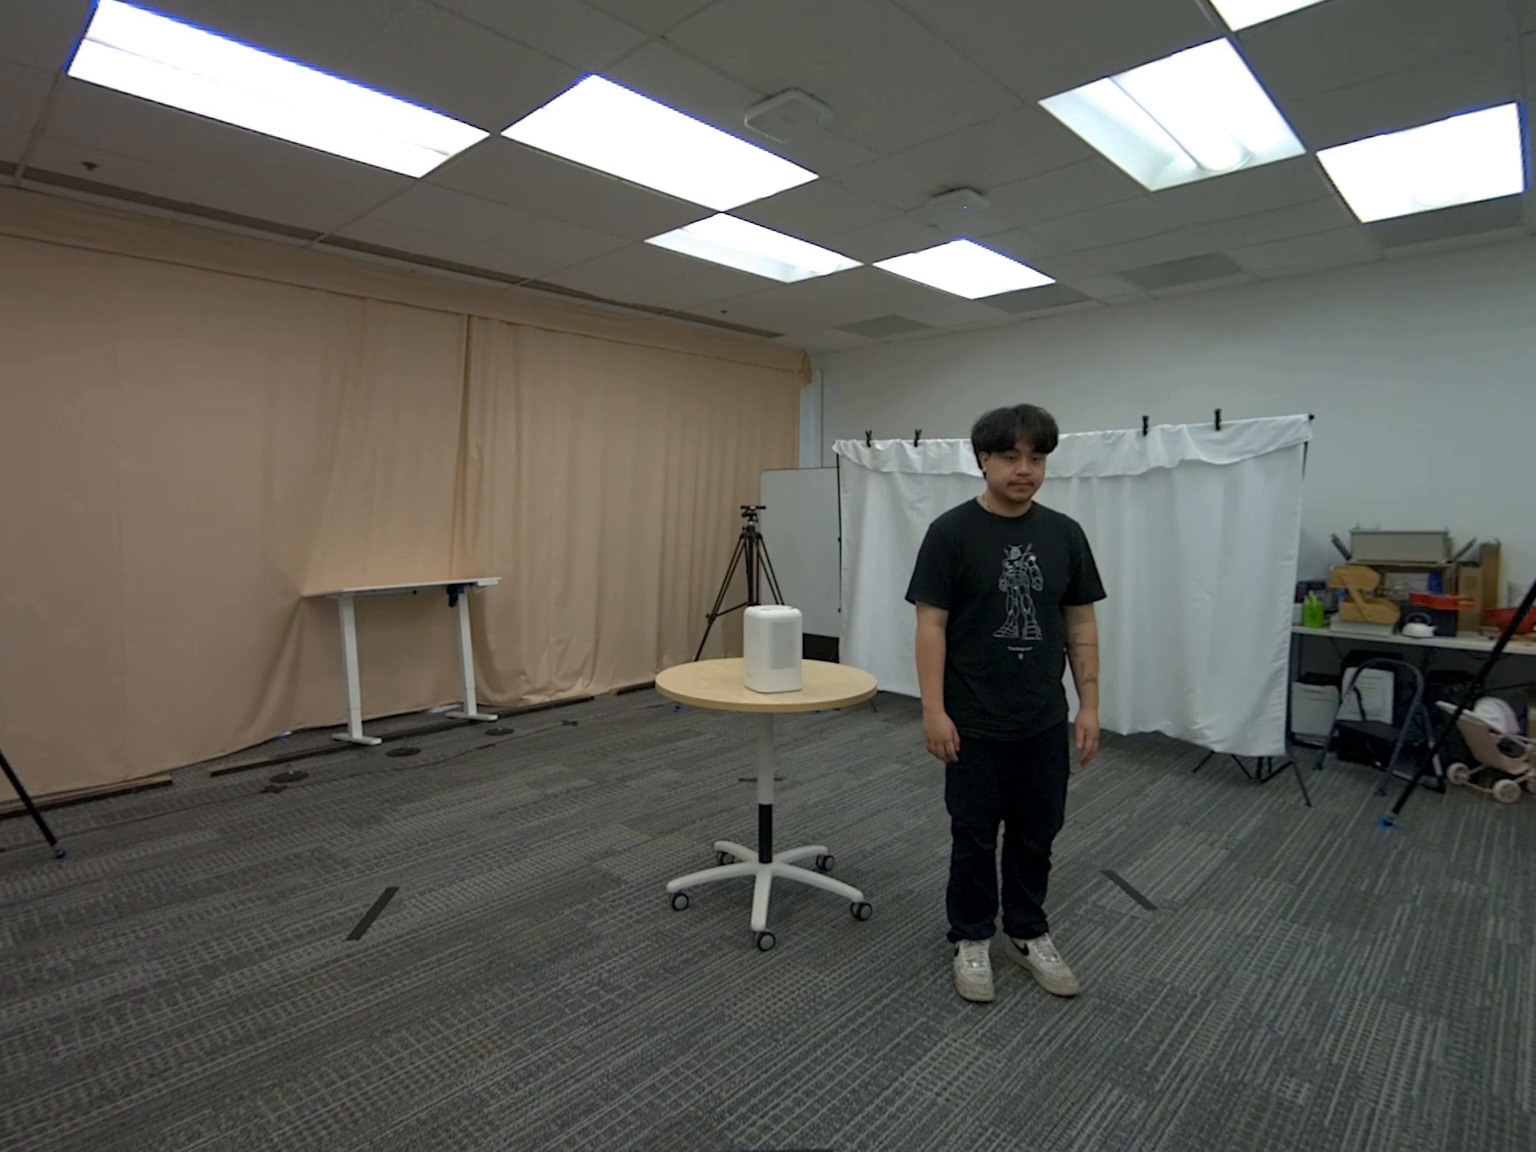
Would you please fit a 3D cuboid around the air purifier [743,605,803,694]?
[{"bbox_3d":[0.022,0.238,2.766,0.167,0.265,0.175,0,5,-24],"label":"air purifier"}]
